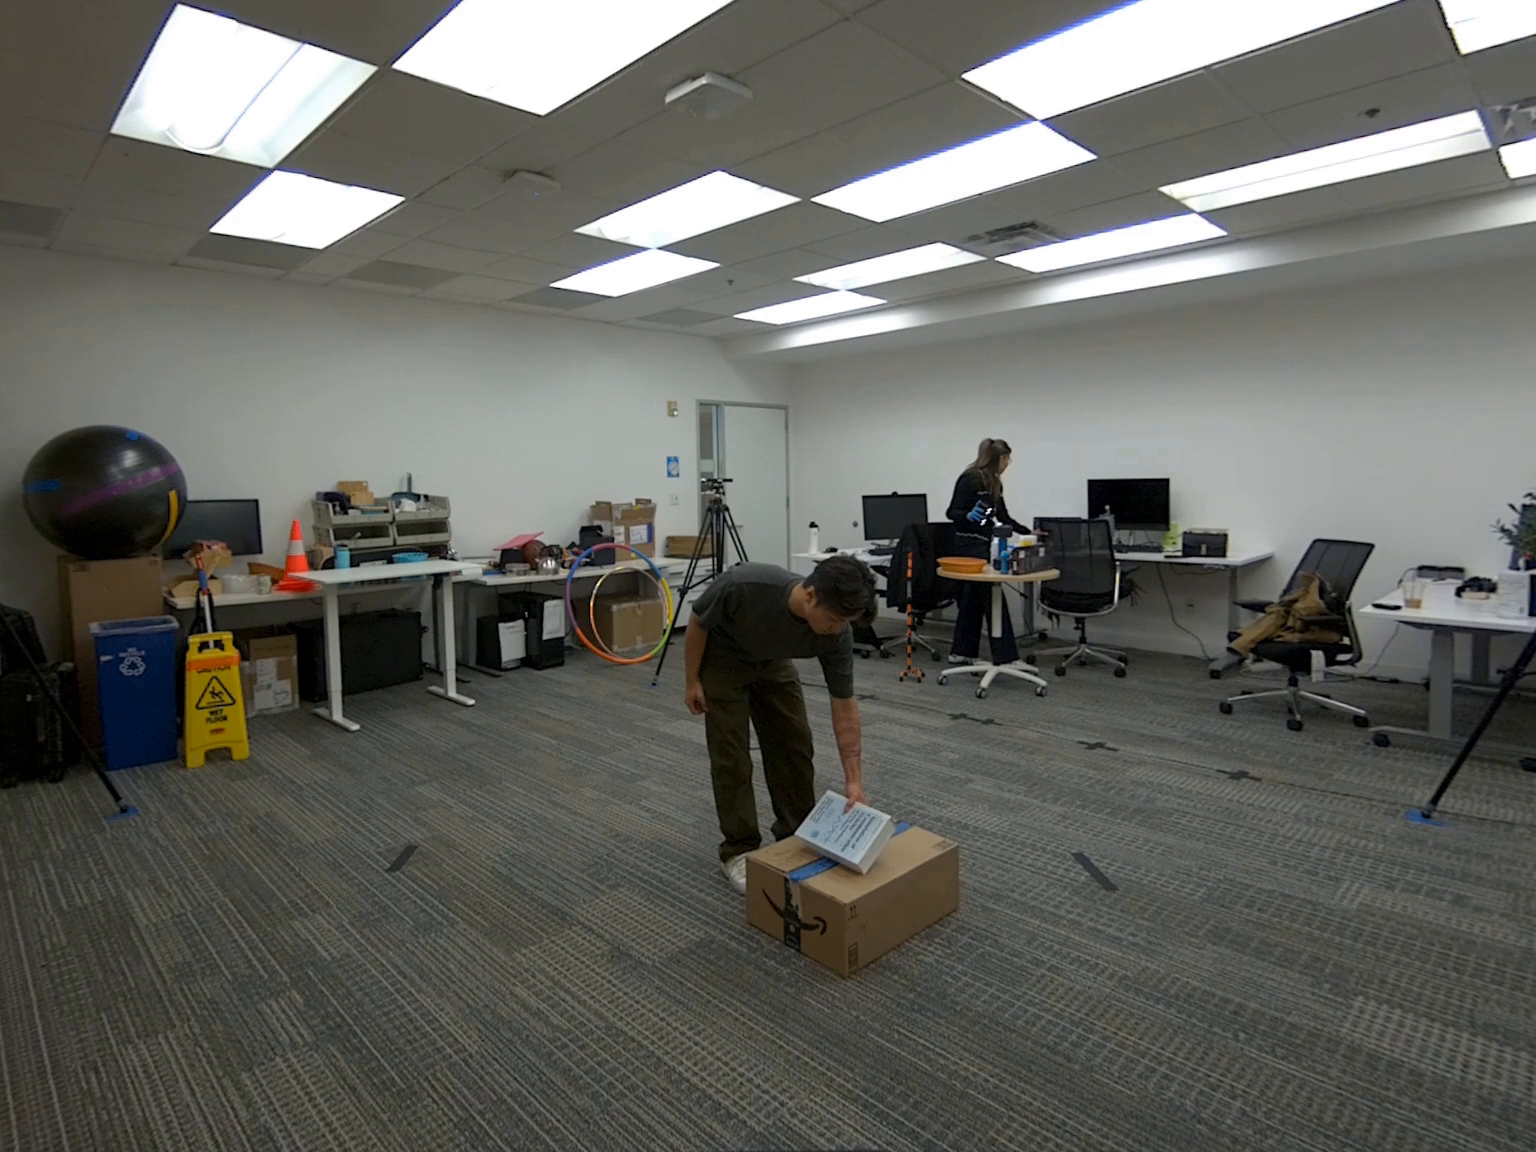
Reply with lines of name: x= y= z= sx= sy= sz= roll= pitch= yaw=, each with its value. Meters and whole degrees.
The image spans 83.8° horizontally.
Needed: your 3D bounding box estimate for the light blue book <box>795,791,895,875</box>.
light blue book: x=0.240 y=0.798 z=2.671 sx=0.269 sy=0.057 sz=0.191 roll=9 pitch=46 yaw=47
